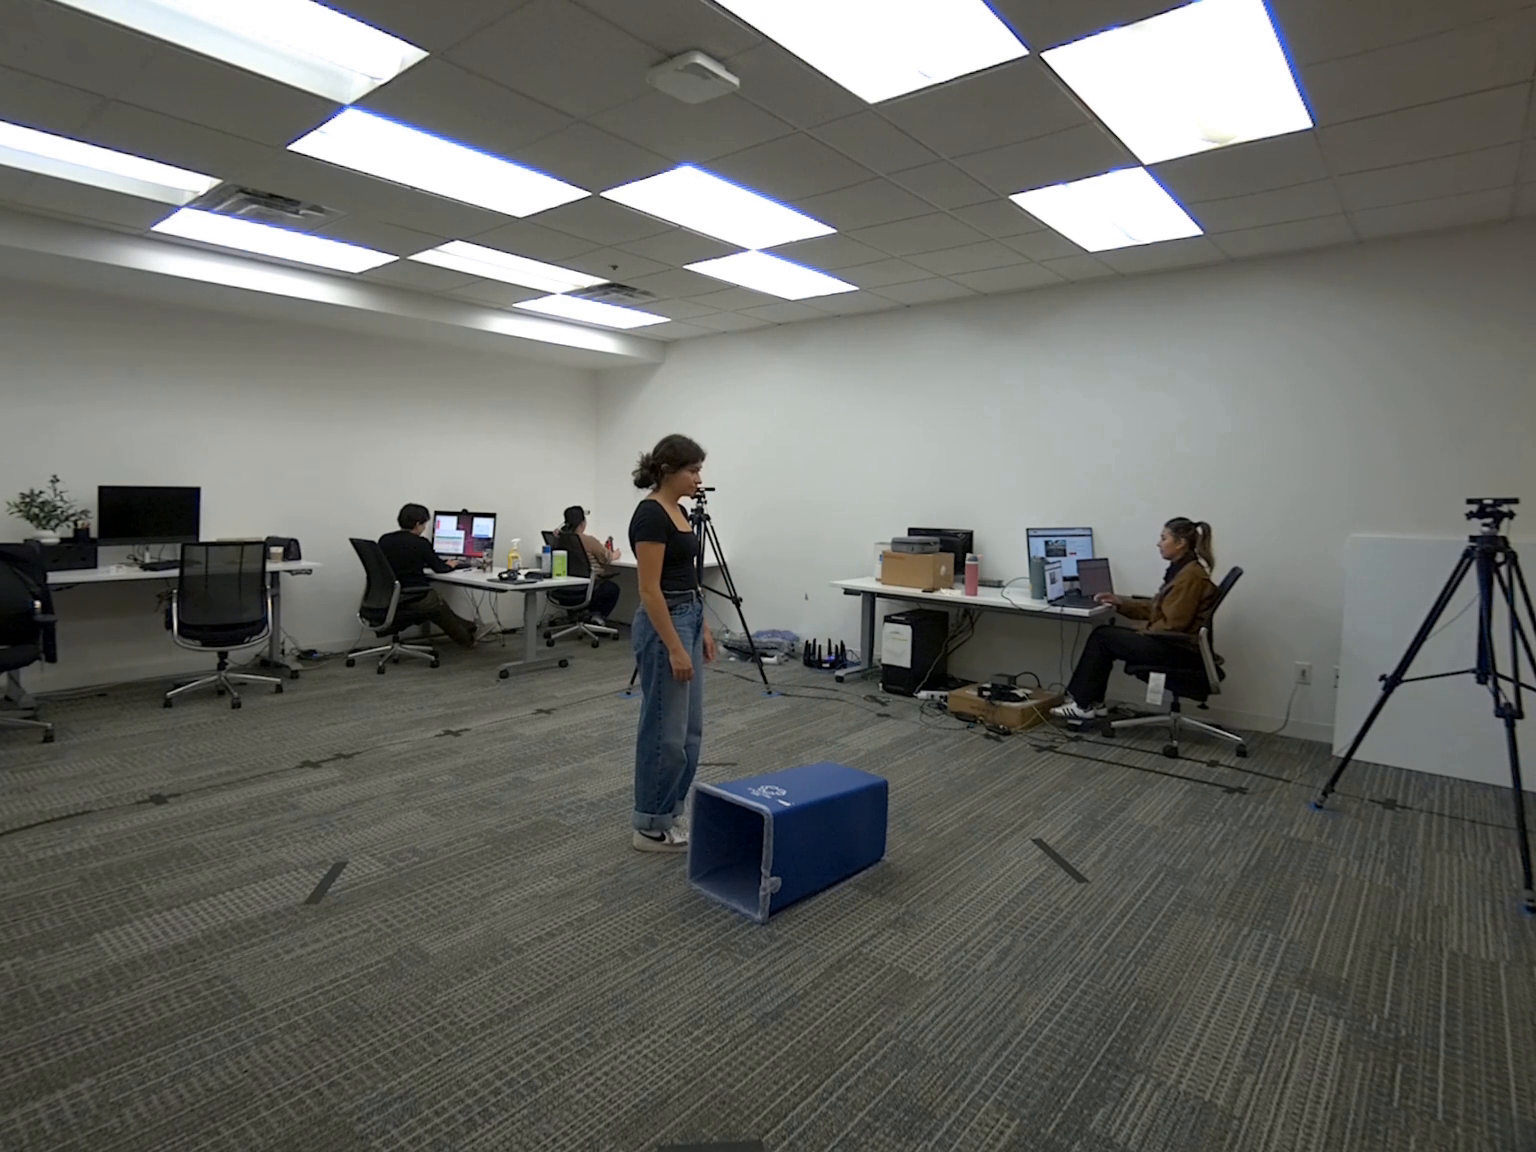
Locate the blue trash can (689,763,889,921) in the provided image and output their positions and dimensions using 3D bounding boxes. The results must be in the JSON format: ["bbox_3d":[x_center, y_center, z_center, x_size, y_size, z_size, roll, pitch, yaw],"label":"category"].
[{"bbox_3d":[0.098,0.913,3.068,0.690,0.374,0.391,1,2,-45],"label":"blue trash can"}]
